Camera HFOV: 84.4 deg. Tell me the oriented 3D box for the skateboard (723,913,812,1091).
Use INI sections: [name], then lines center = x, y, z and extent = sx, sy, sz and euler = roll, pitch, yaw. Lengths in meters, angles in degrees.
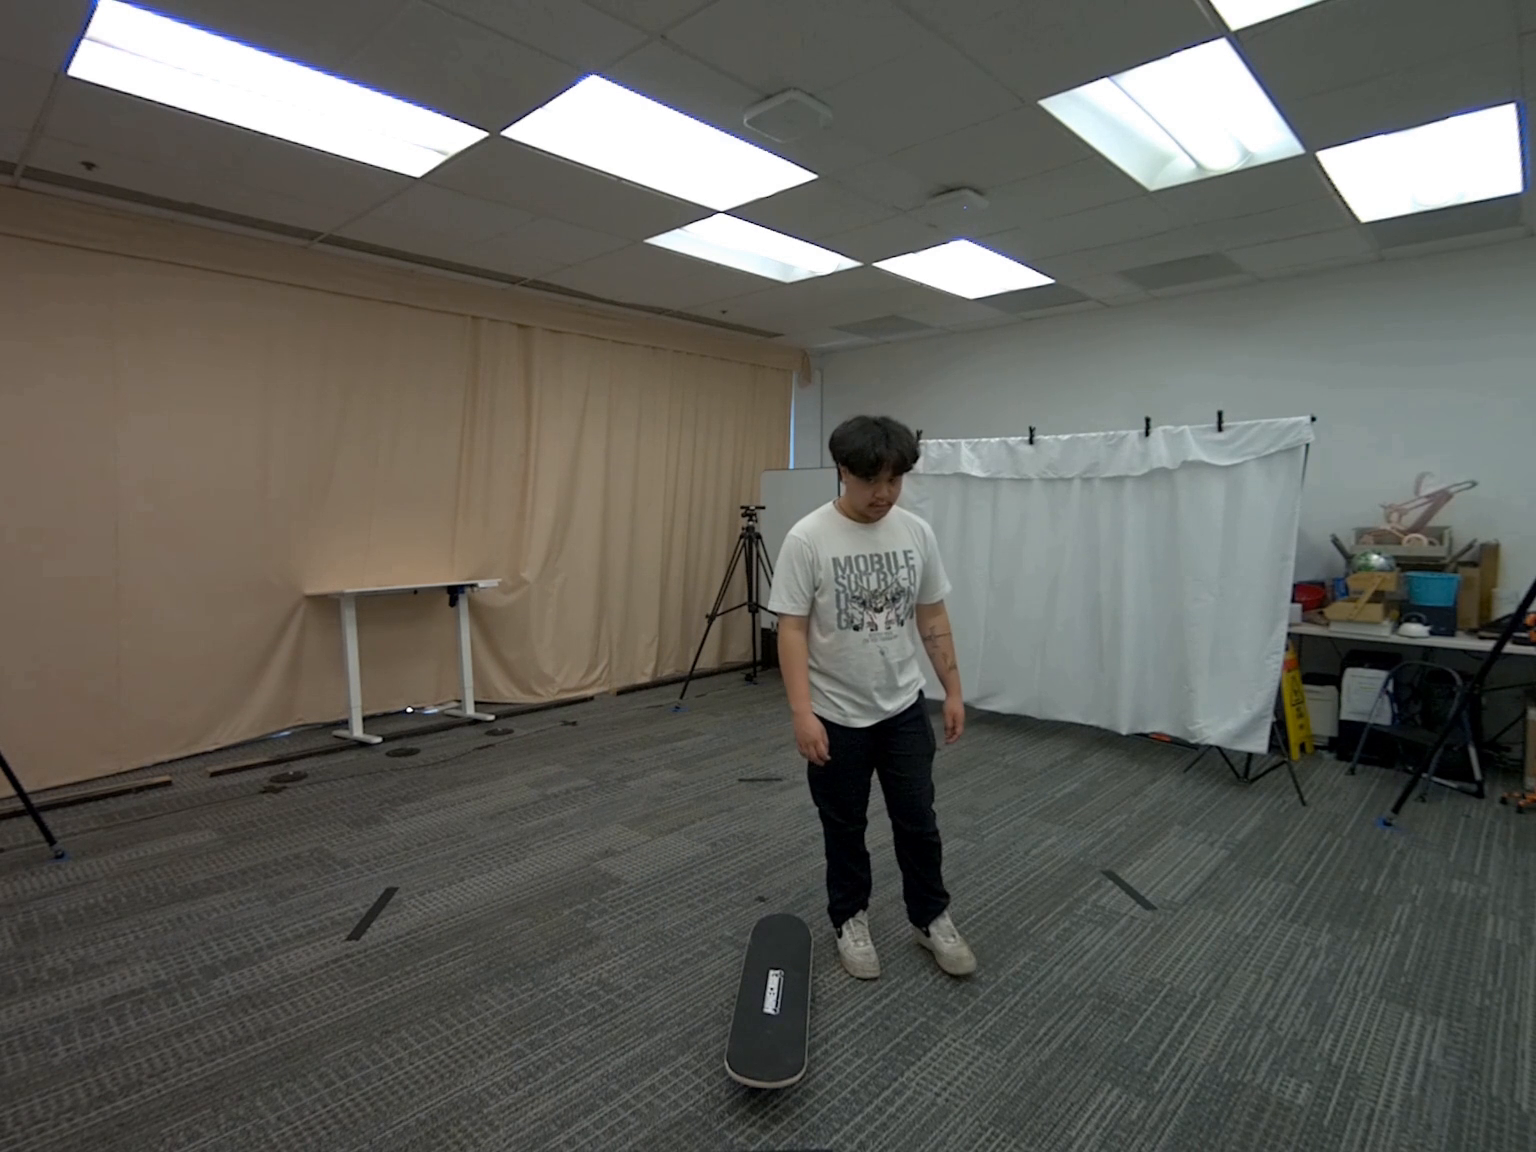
[skateboard]
center = 0.021, 1.145, 2.272
extent = 0.195, 0.110, 0.781
euler = 1, 4, 5
